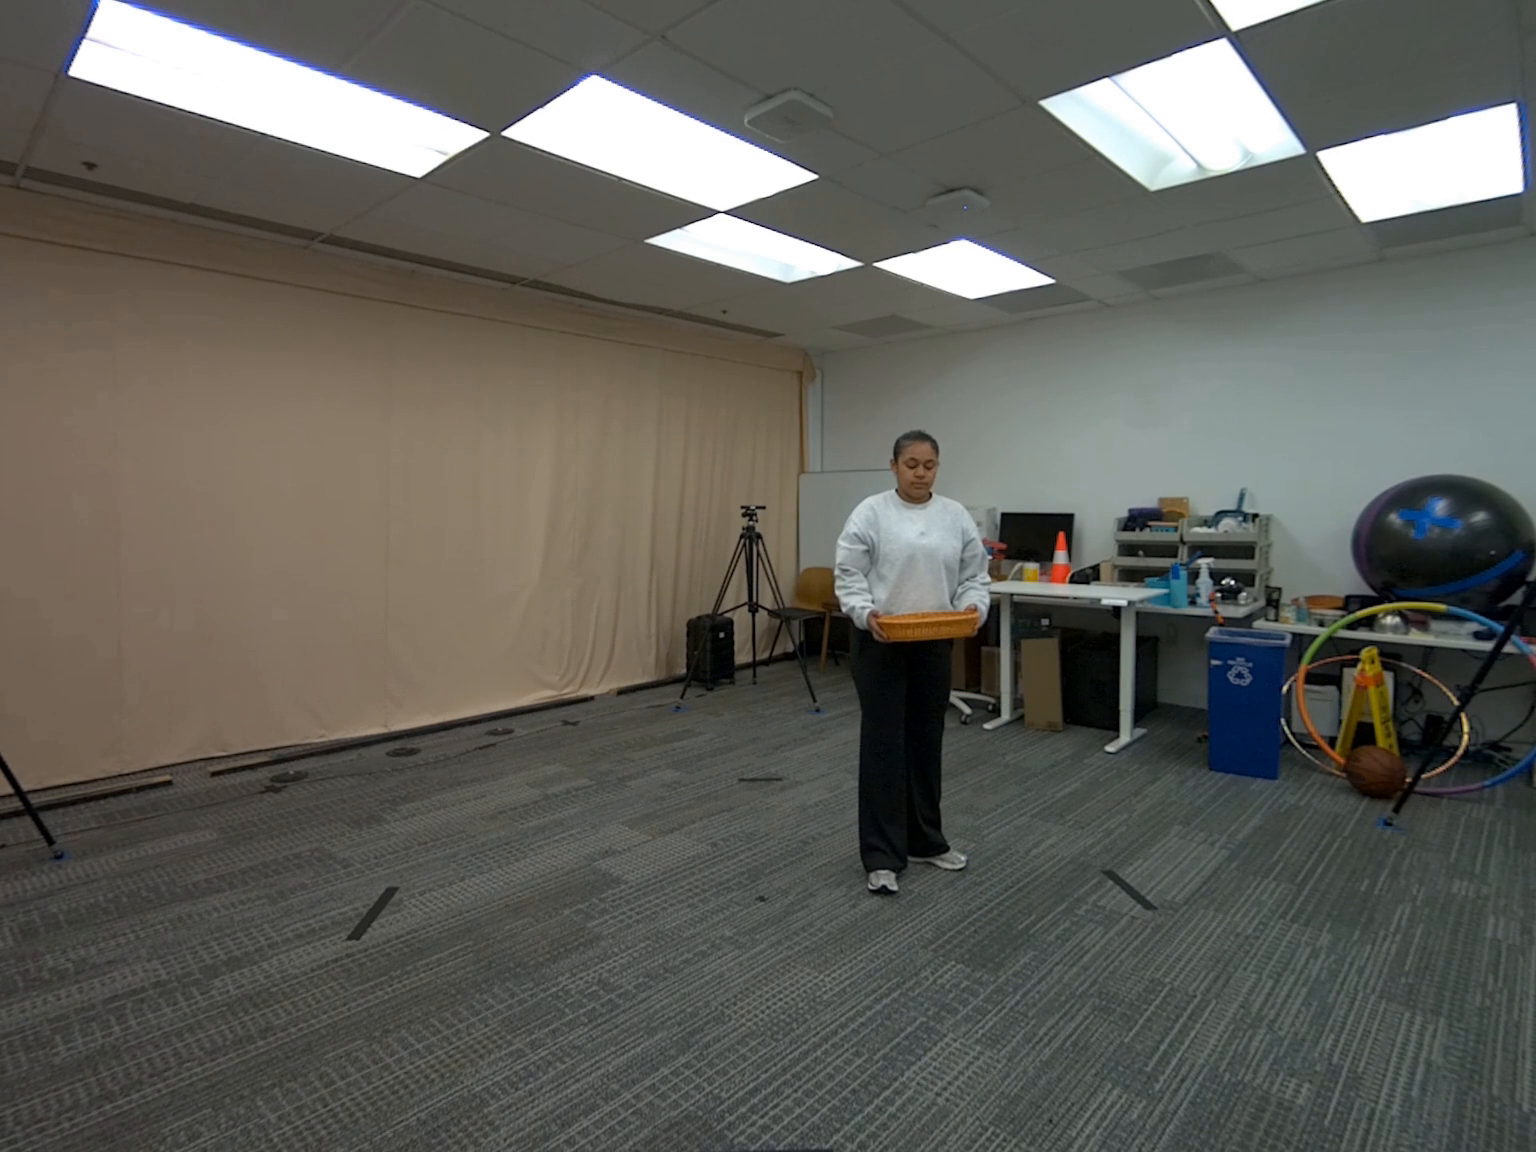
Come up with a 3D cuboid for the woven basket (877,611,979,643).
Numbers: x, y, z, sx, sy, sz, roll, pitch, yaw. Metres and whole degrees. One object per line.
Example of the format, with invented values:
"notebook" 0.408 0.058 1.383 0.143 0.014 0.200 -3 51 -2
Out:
"woven basket" 0.554 0.174 2.863 0.351 0.073 0.252 -4 3 2
